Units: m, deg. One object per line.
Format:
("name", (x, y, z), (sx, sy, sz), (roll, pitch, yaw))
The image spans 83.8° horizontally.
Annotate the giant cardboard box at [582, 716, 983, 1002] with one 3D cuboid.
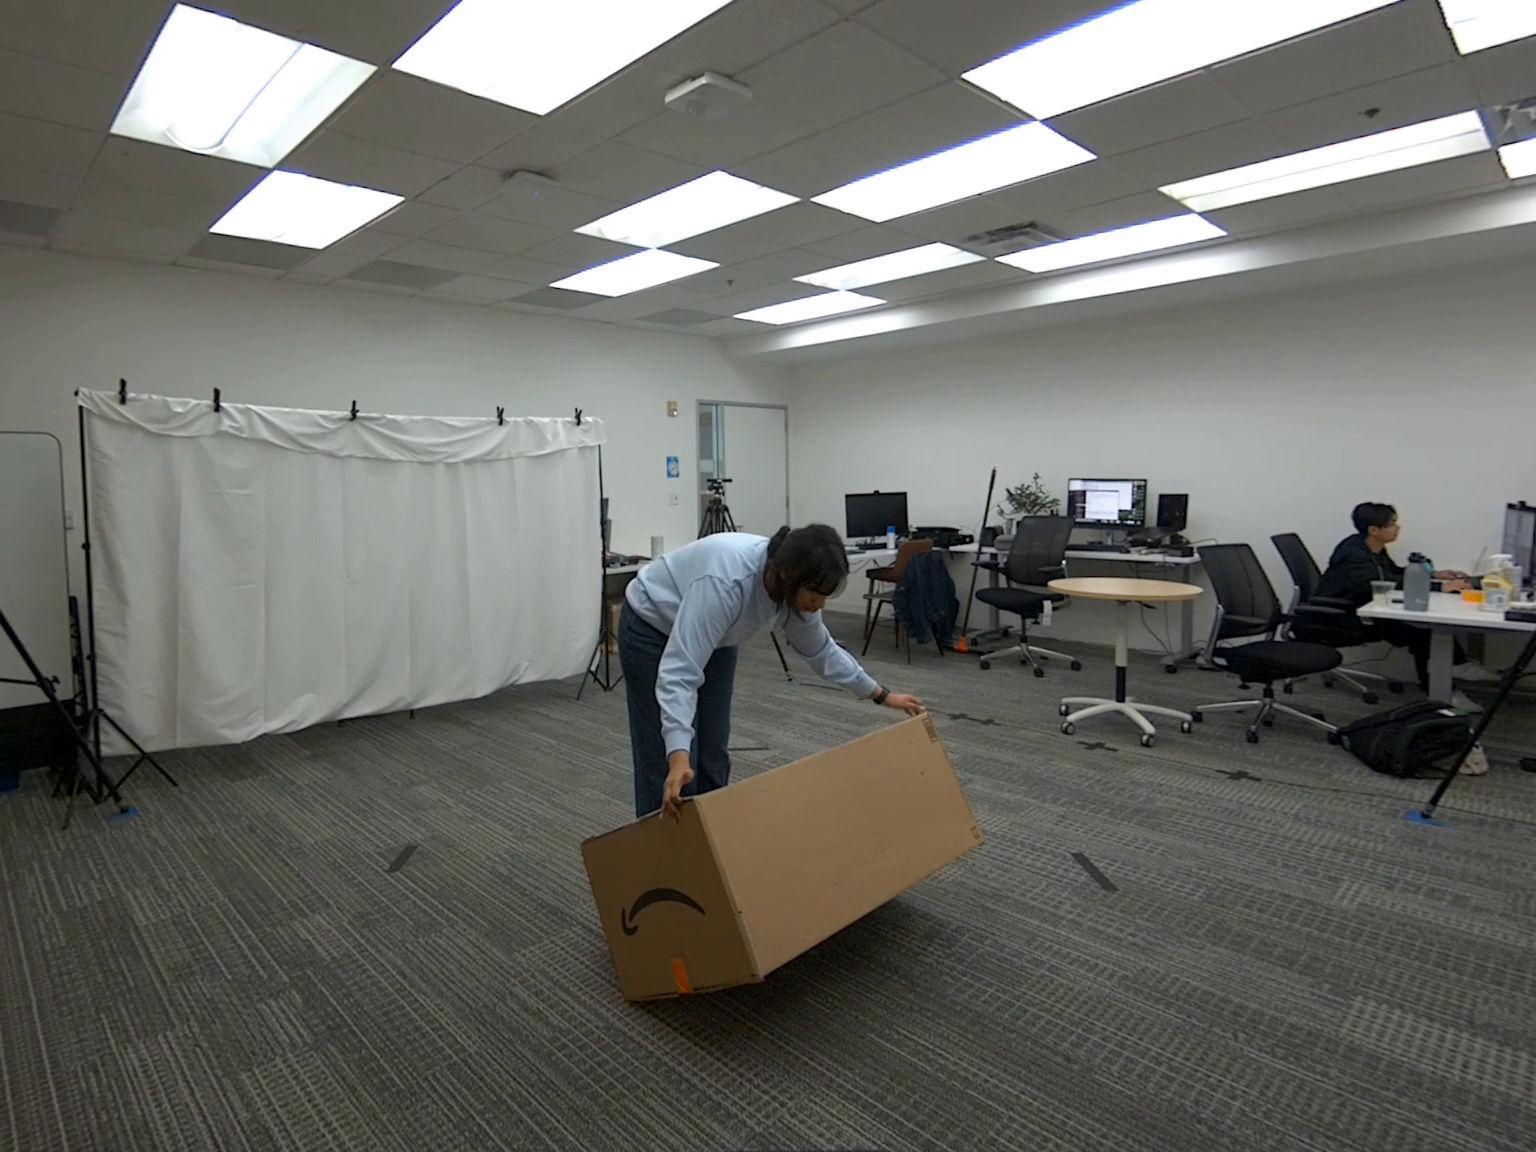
("giant cardboard box", (0.067, 0.794, 2.520), (0.999, 0.434, 0.582), (-7, -19, -45))
